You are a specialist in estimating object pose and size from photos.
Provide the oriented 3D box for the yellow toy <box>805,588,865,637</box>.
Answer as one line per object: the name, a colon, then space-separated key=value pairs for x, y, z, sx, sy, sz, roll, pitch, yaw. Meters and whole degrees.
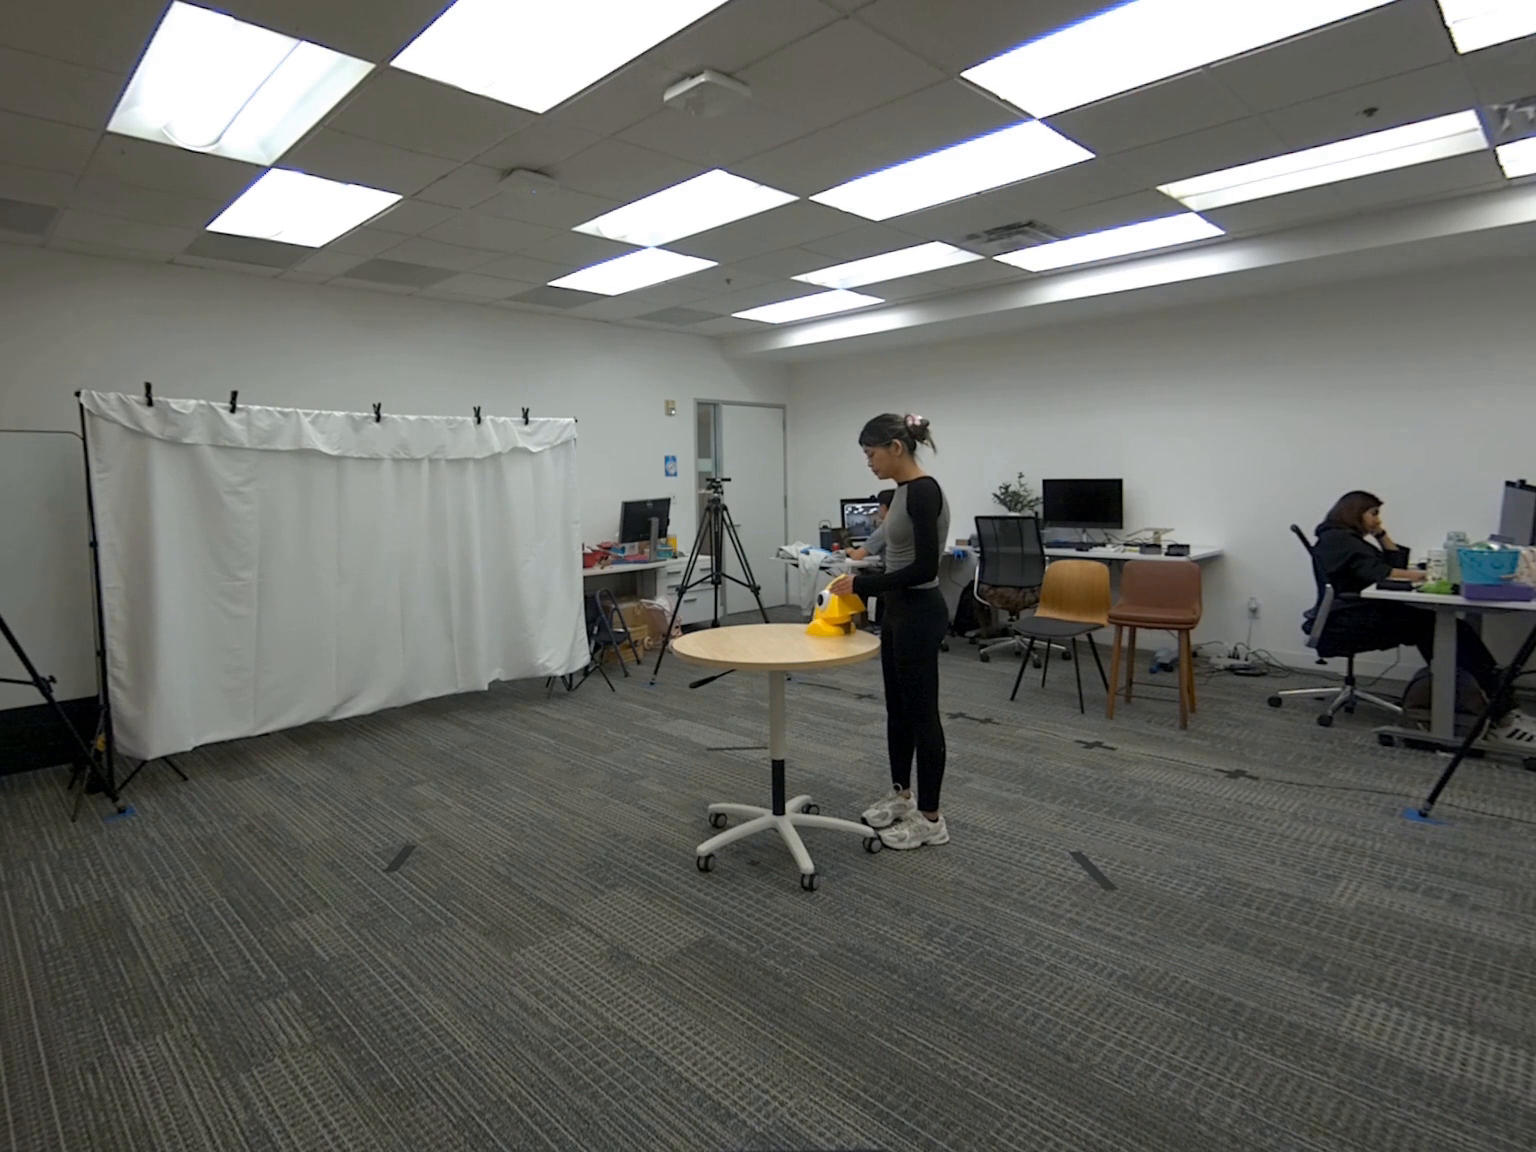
yellow toy: x=0.257 y=0.105 z=3.312 sx=0.199 sy=0.230 sz=0.199 roll=2 pitch=4 yaw=40
